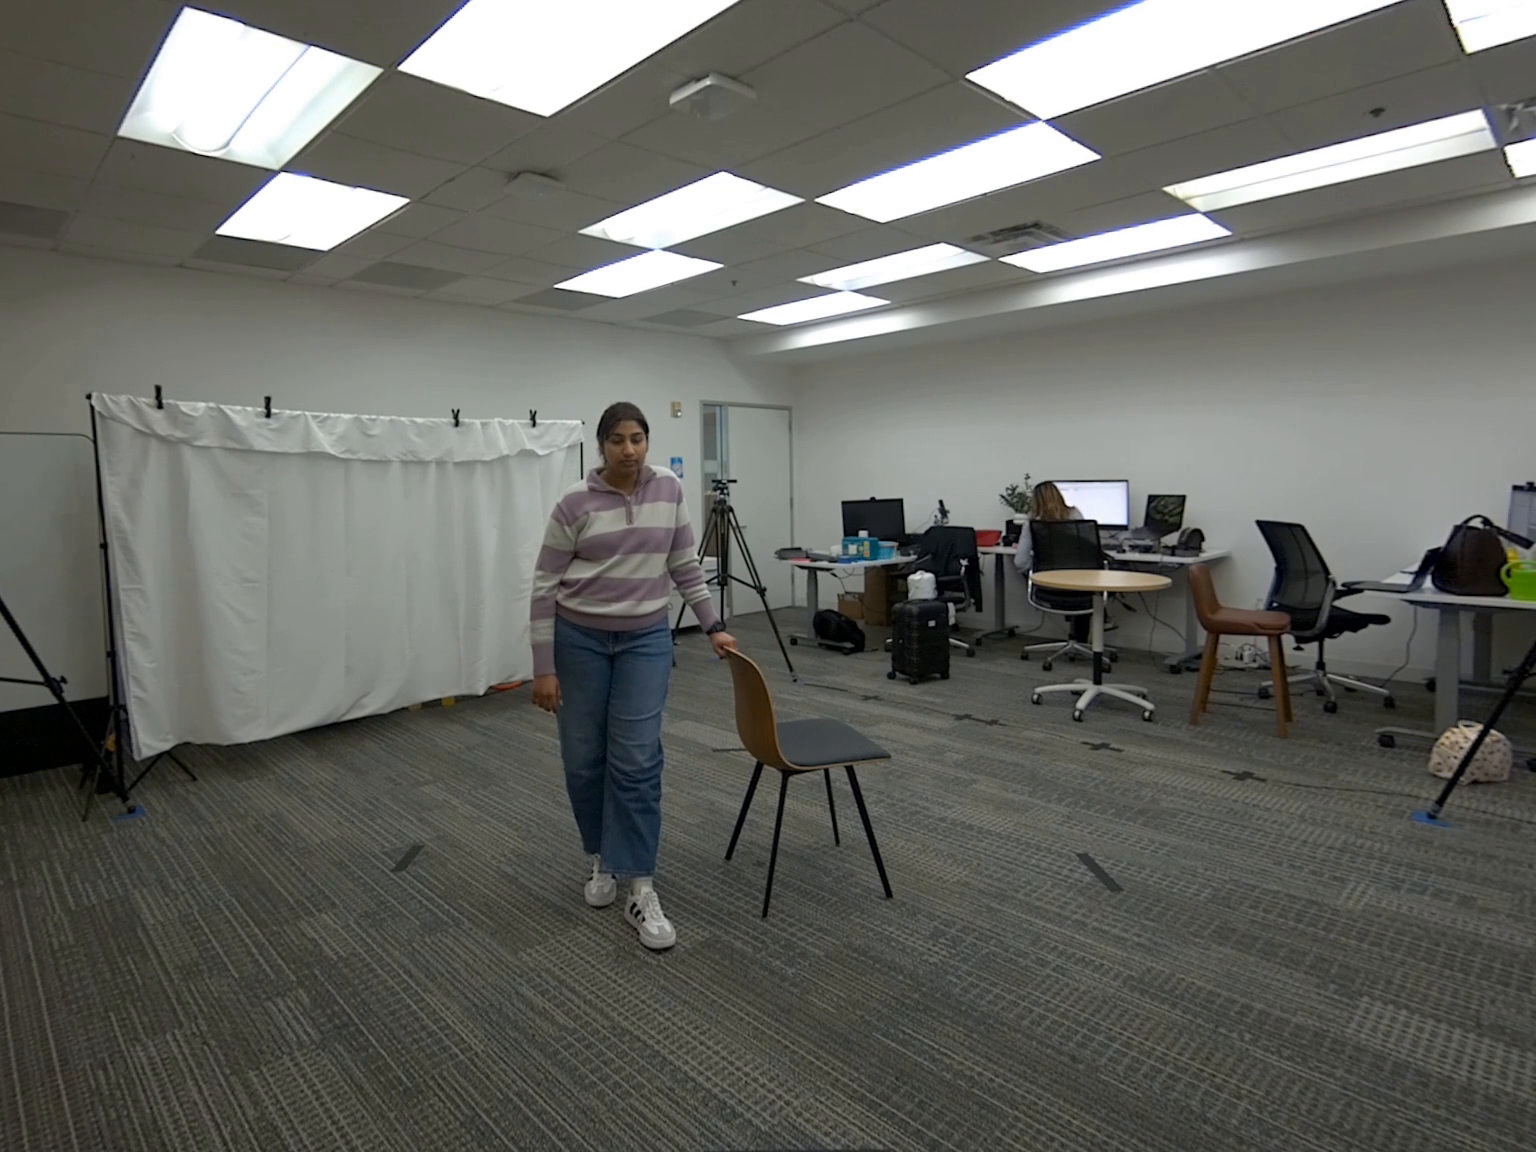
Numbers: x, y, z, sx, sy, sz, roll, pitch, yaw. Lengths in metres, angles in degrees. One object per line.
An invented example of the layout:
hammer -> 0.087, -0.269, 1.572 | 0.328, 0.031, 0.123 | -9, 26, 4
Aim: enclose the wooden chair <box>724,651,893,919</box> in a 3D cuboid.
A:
wooden chair -> 0.130, 0.630, 2.967 | 0.516, 0.873, 0.487 | -7, 5, -17
